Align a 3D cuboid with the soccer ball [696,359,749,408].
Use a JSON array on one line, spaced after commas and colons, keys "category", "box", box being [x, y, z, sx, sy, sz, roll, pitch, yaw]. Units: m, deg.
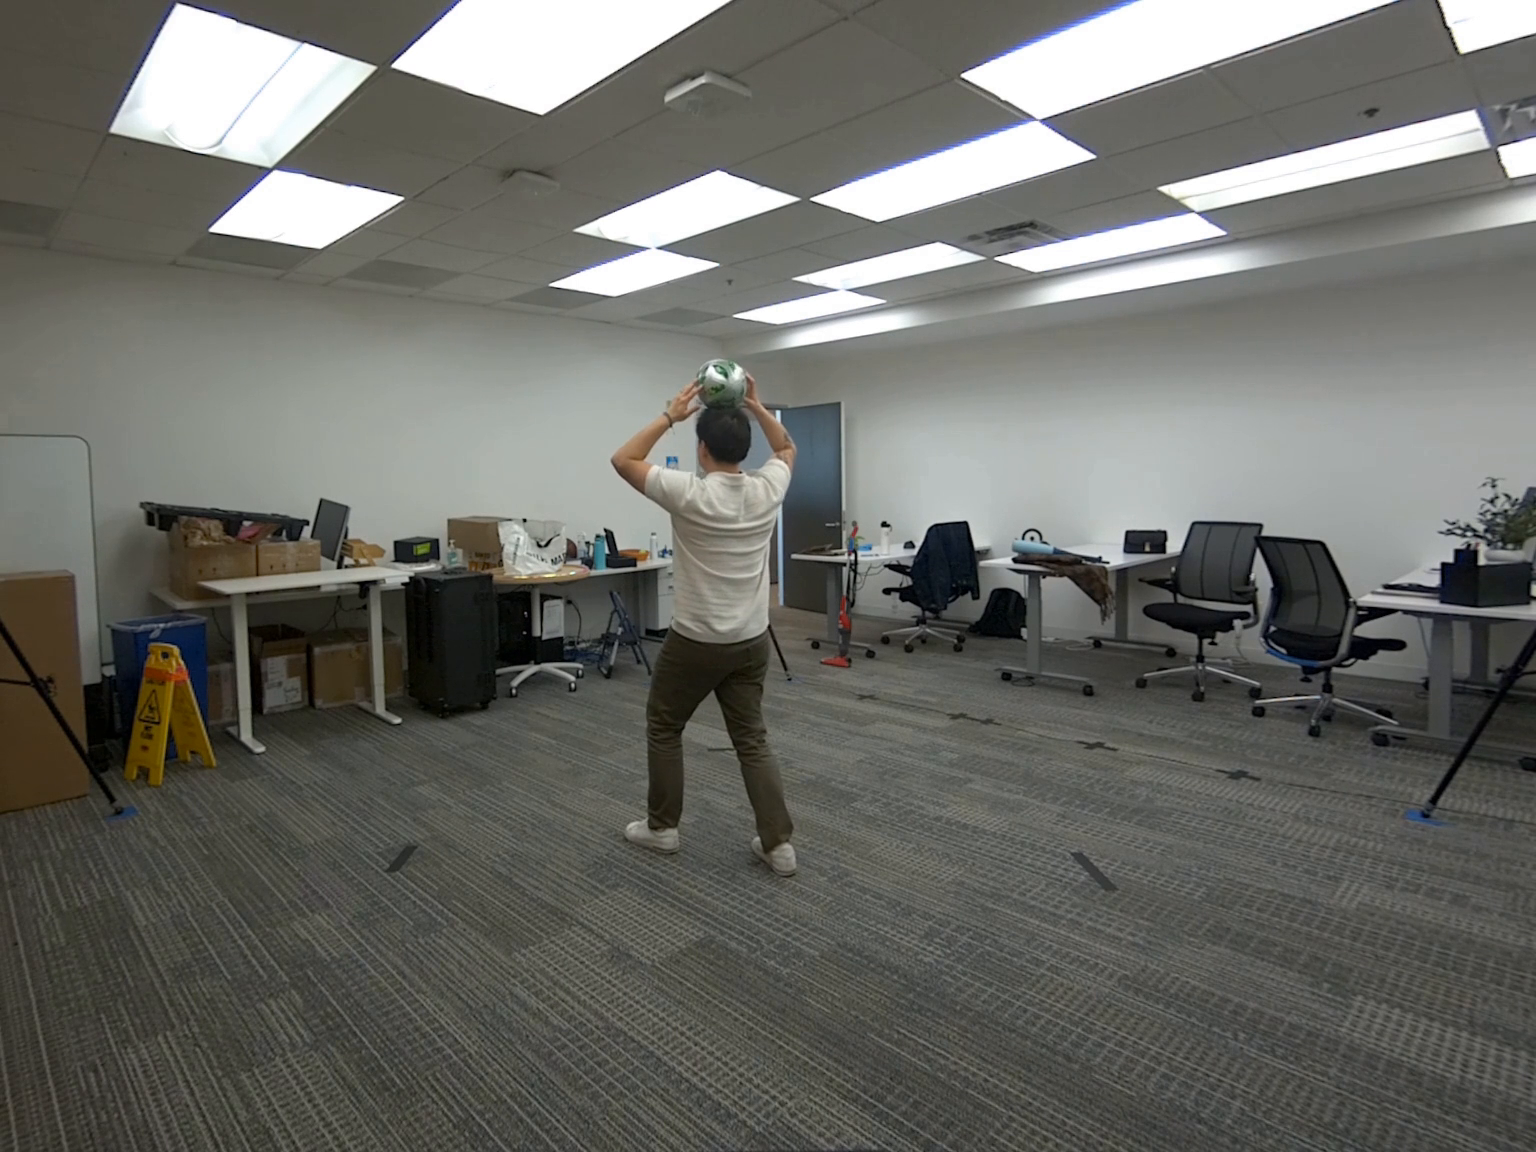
[{"category": "soccer ball", "box": [-0.168, -0.680, 3.069, 0.187, 0.187, 0.188, -1, 5, -2]}]
